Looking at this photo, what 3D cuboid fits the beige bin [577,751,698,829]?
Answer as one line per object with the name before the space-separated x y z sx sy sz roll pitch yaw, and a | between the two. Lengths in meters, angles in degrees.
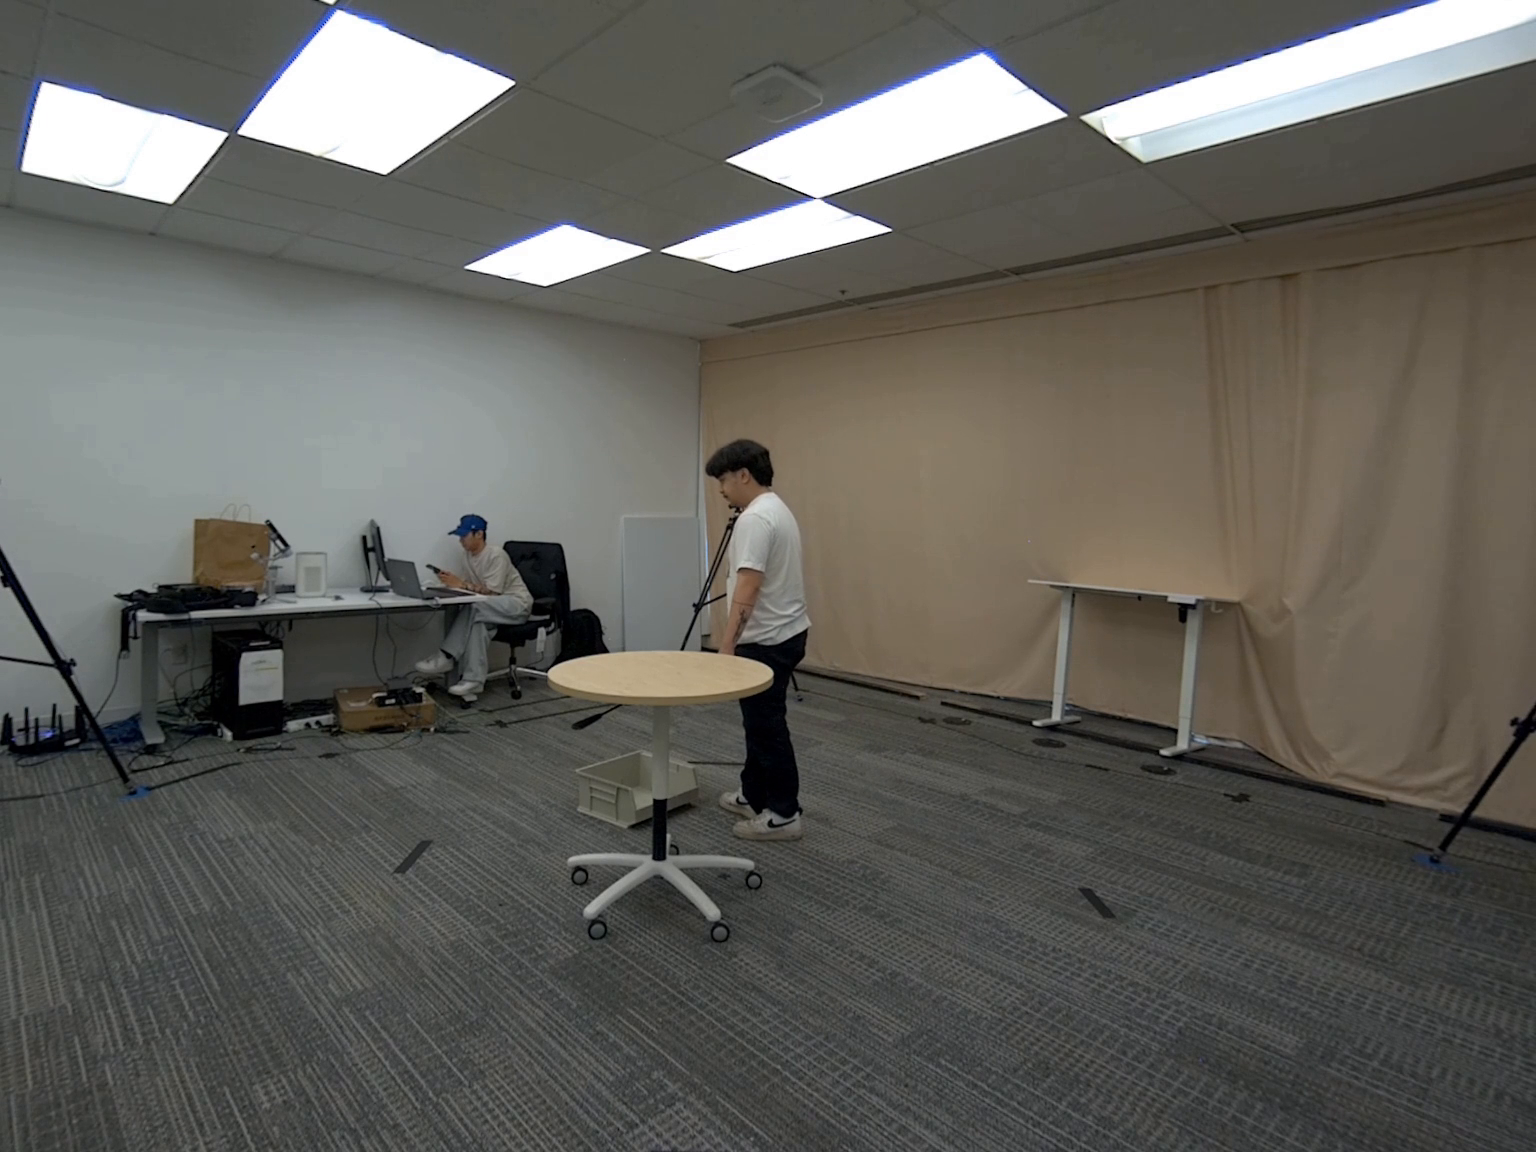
beige bin | -0.585 0.948 3.764 0.386 0.188 0.413 4 6 36
